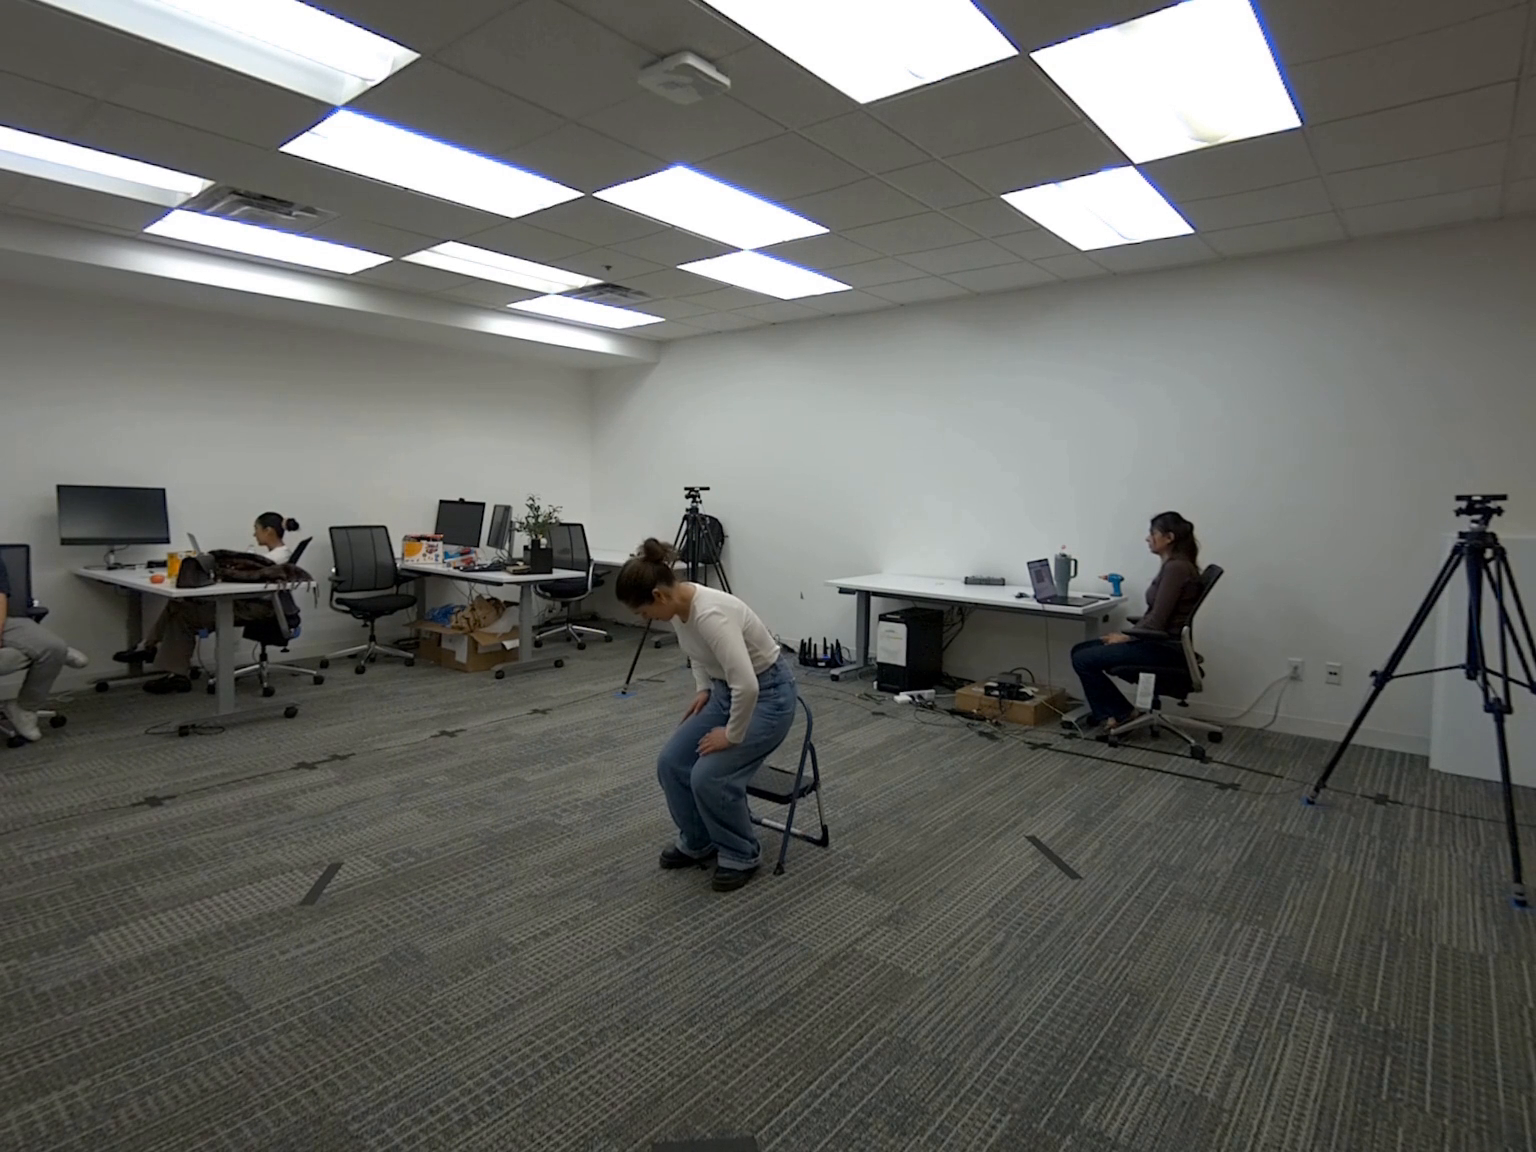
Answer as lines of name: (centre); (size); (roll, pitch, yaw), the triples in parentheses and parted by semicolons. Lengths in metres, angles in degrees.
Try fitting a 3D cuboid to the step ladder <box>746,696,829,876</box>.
step ladder: (-0.024, 0.743, 3.317); (0.445, 0.604, 0.339); (4, 5, 38)
